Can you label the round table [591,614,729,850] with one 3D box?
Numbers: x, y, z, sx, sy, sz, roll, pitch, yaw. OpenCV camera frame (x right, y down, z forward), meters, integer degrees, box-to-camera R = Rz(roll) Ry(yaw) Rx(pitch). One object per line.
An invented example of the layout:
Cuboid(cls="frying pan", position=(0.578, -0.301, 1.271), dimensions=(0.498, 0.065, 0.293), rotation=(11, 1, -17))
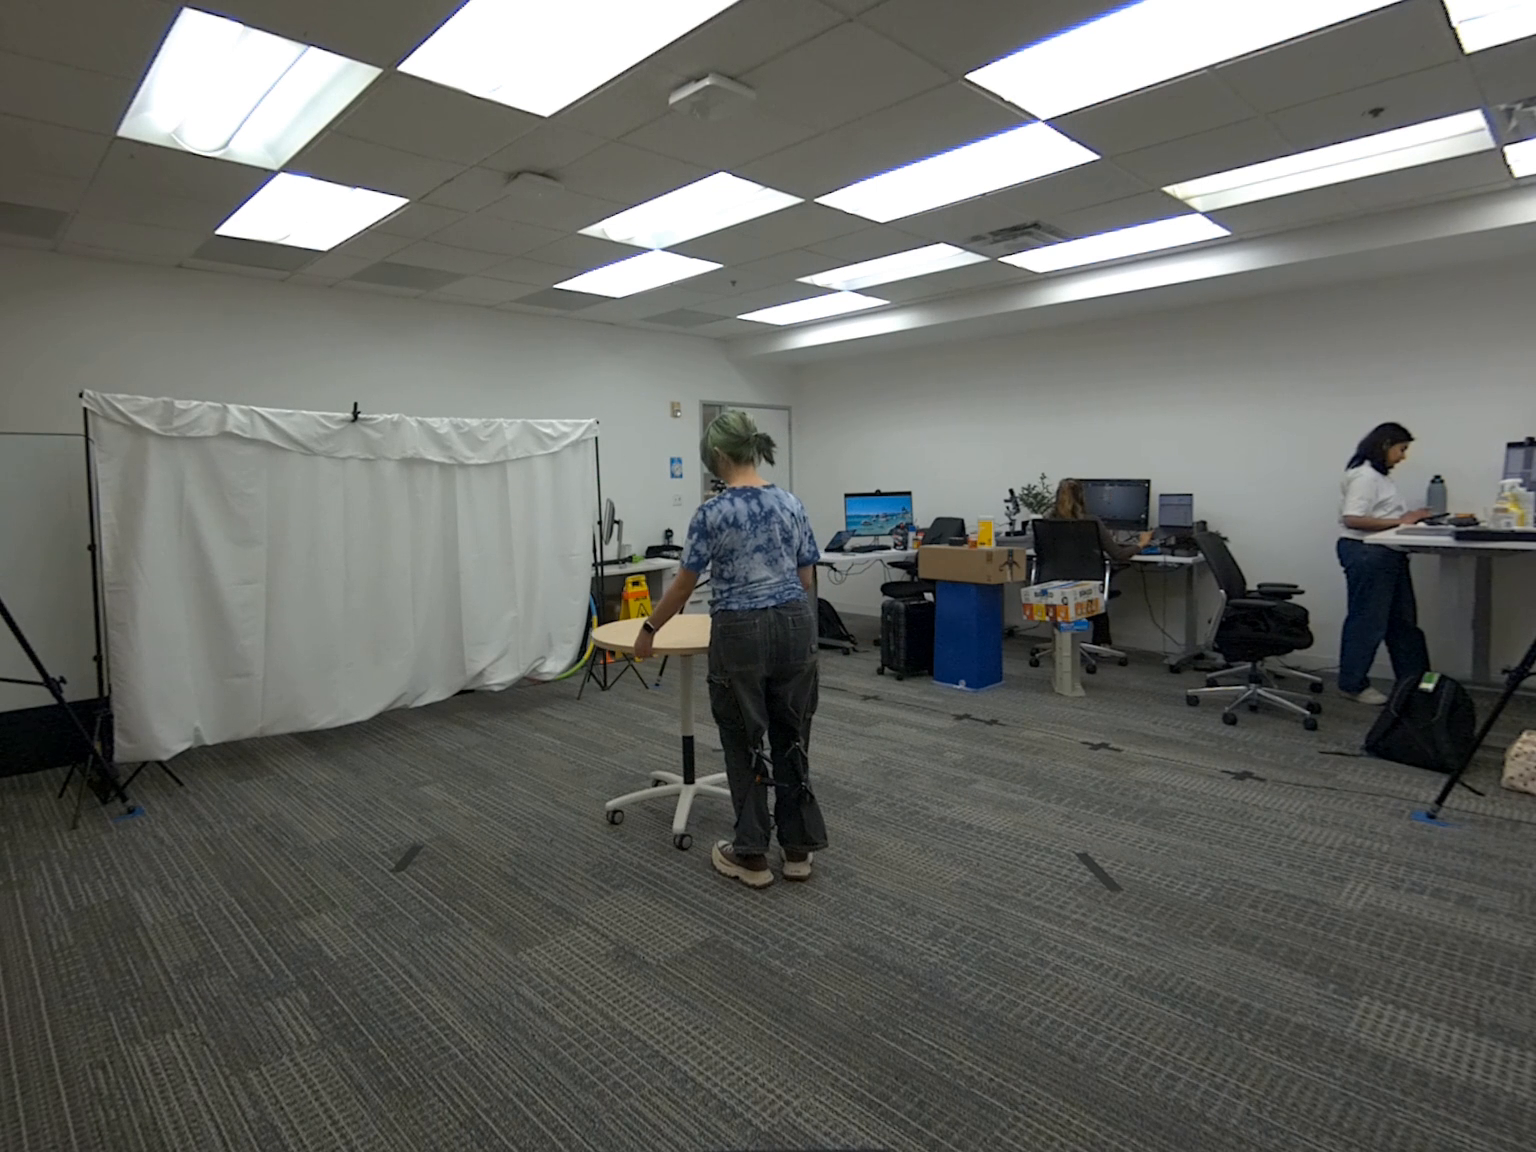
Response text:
Cuboid(cls="round table", position=(-0.330, 0.613, 3.538), dimensions=(0.763, 0.791, 0.768), rotation=(-2, 5, -2))
